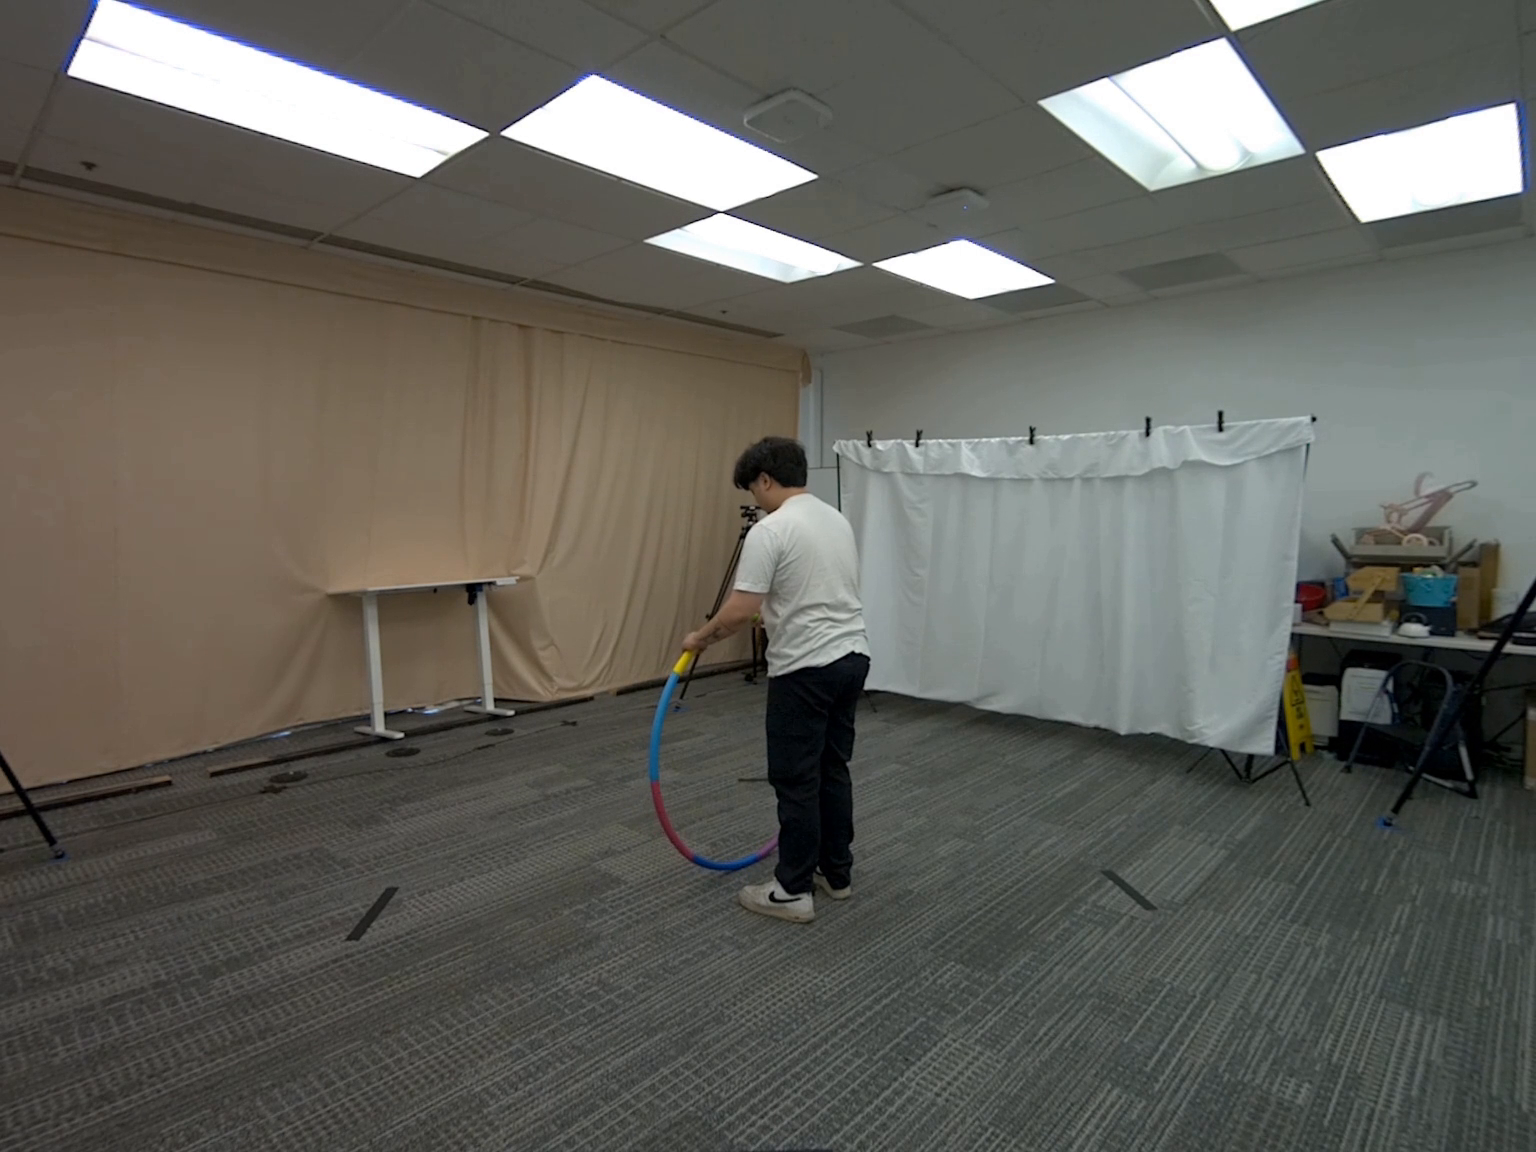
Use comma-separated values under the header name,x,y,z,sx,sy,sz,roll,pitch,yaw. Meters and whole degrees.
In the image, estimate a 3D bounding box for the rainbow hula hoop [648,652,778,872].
name,x,y,z,sx,sy,sz,roll,pitch,yaw
rainbow hula hoop,-0.080,0.635,3.245,0.053,0.983,0.955,2,4,44
